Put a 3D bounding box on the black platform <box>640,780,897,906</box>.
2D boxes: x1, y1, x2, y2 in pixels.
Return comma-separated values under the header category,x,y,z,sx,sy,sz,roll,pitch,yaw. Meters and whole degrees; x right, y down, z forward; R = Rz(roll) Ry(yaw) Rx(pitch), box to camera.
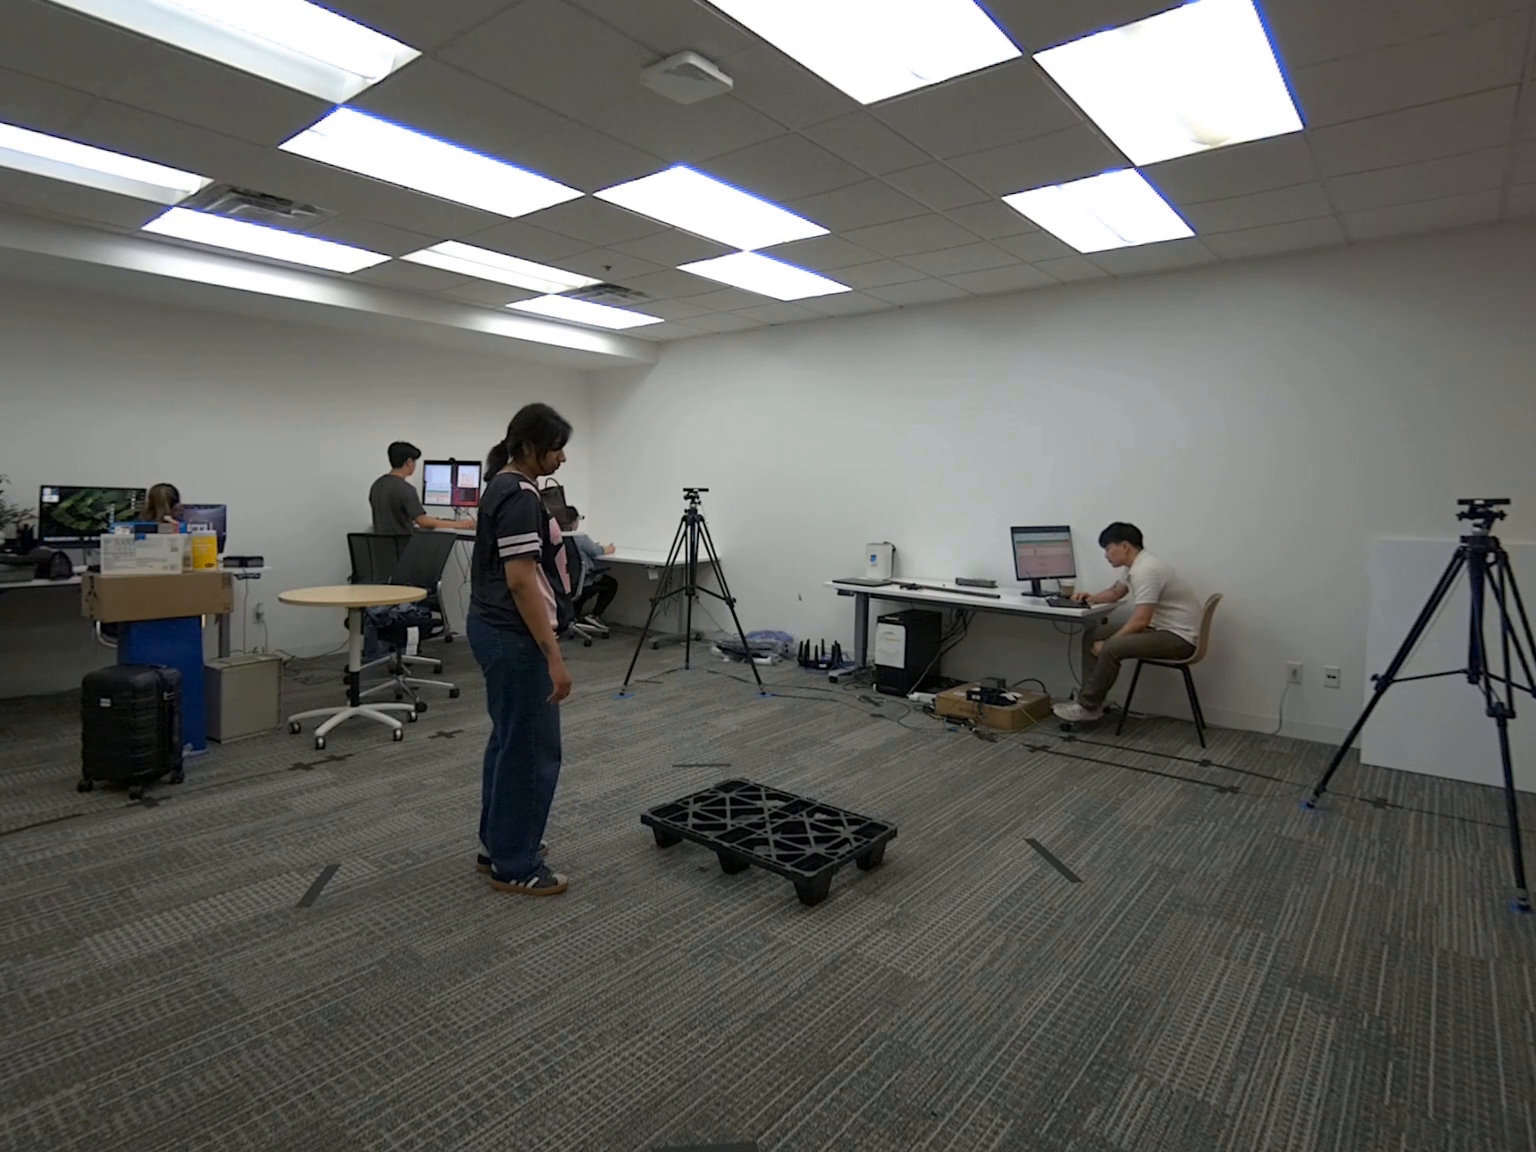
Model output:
category,x,y,z,sx,sy,sz,roll,pitch,yaw
black platform,-0.013,0.995,3.253,0.833,0.143,0.587,6,7,39
